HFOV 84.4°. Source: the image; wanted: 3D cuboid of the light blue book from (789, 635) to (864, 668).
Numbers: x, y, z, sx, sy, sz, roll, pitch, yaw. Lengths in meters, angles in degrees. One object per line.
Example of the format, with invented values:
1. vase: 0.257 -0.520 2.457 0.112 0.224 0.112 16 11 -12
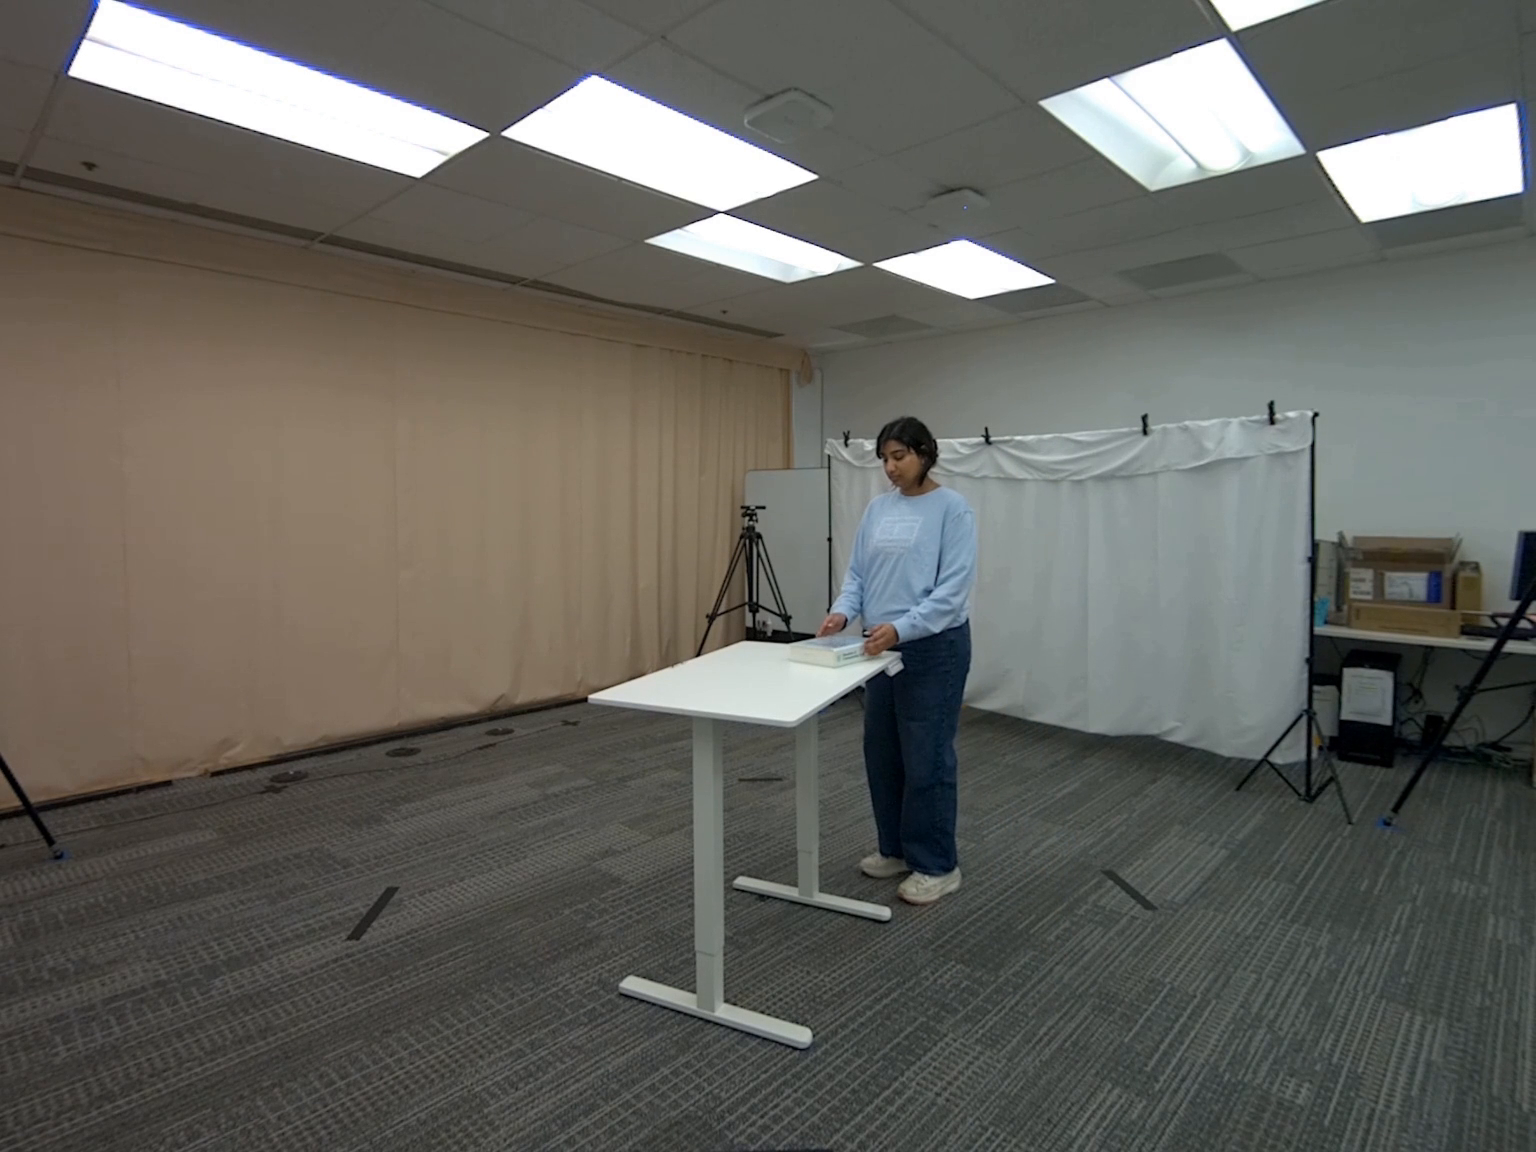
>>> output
1. light blue book: 0.228 0.251 2.772 0.198 0.059 0.253 4 5 45
